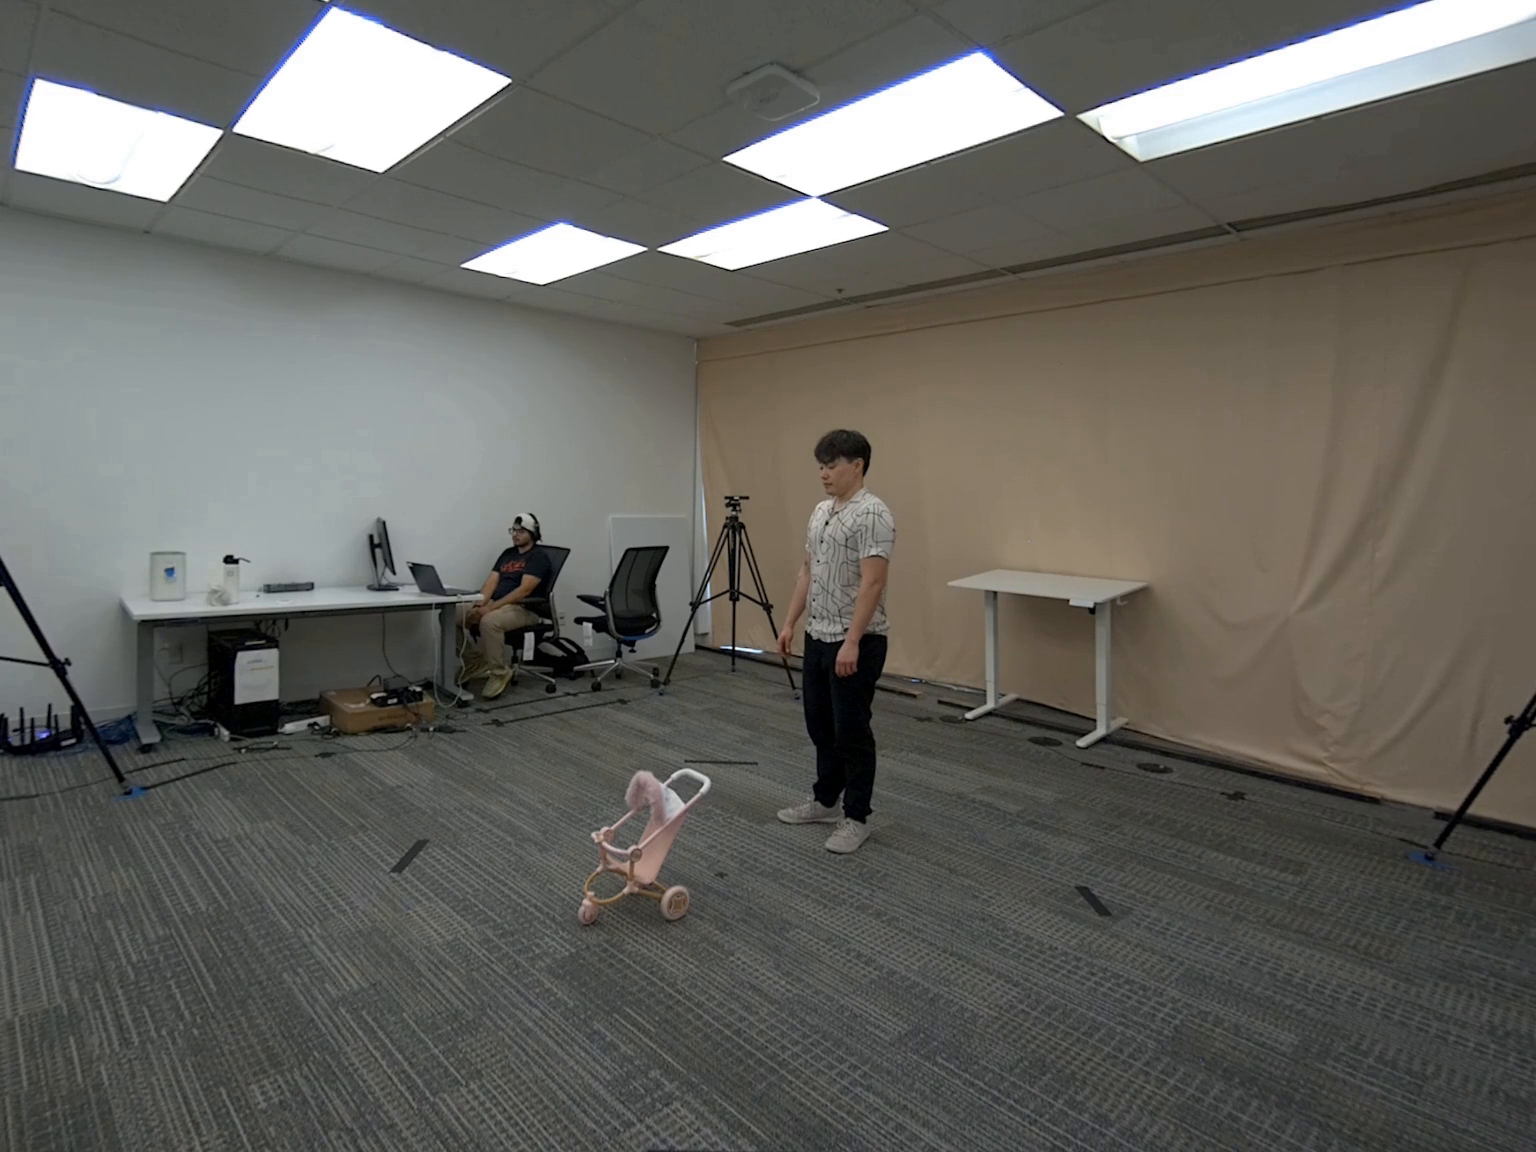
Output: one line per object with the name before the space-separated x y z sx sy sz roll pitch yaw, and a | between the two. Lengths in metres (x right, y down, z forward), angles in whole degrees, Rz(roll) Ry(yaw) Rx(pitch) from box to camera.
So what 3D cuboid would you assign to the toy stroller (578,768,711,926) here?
toy stroller | -0.432 0.899 2.823 0.332 0.536 0.288 19 -7 -33
